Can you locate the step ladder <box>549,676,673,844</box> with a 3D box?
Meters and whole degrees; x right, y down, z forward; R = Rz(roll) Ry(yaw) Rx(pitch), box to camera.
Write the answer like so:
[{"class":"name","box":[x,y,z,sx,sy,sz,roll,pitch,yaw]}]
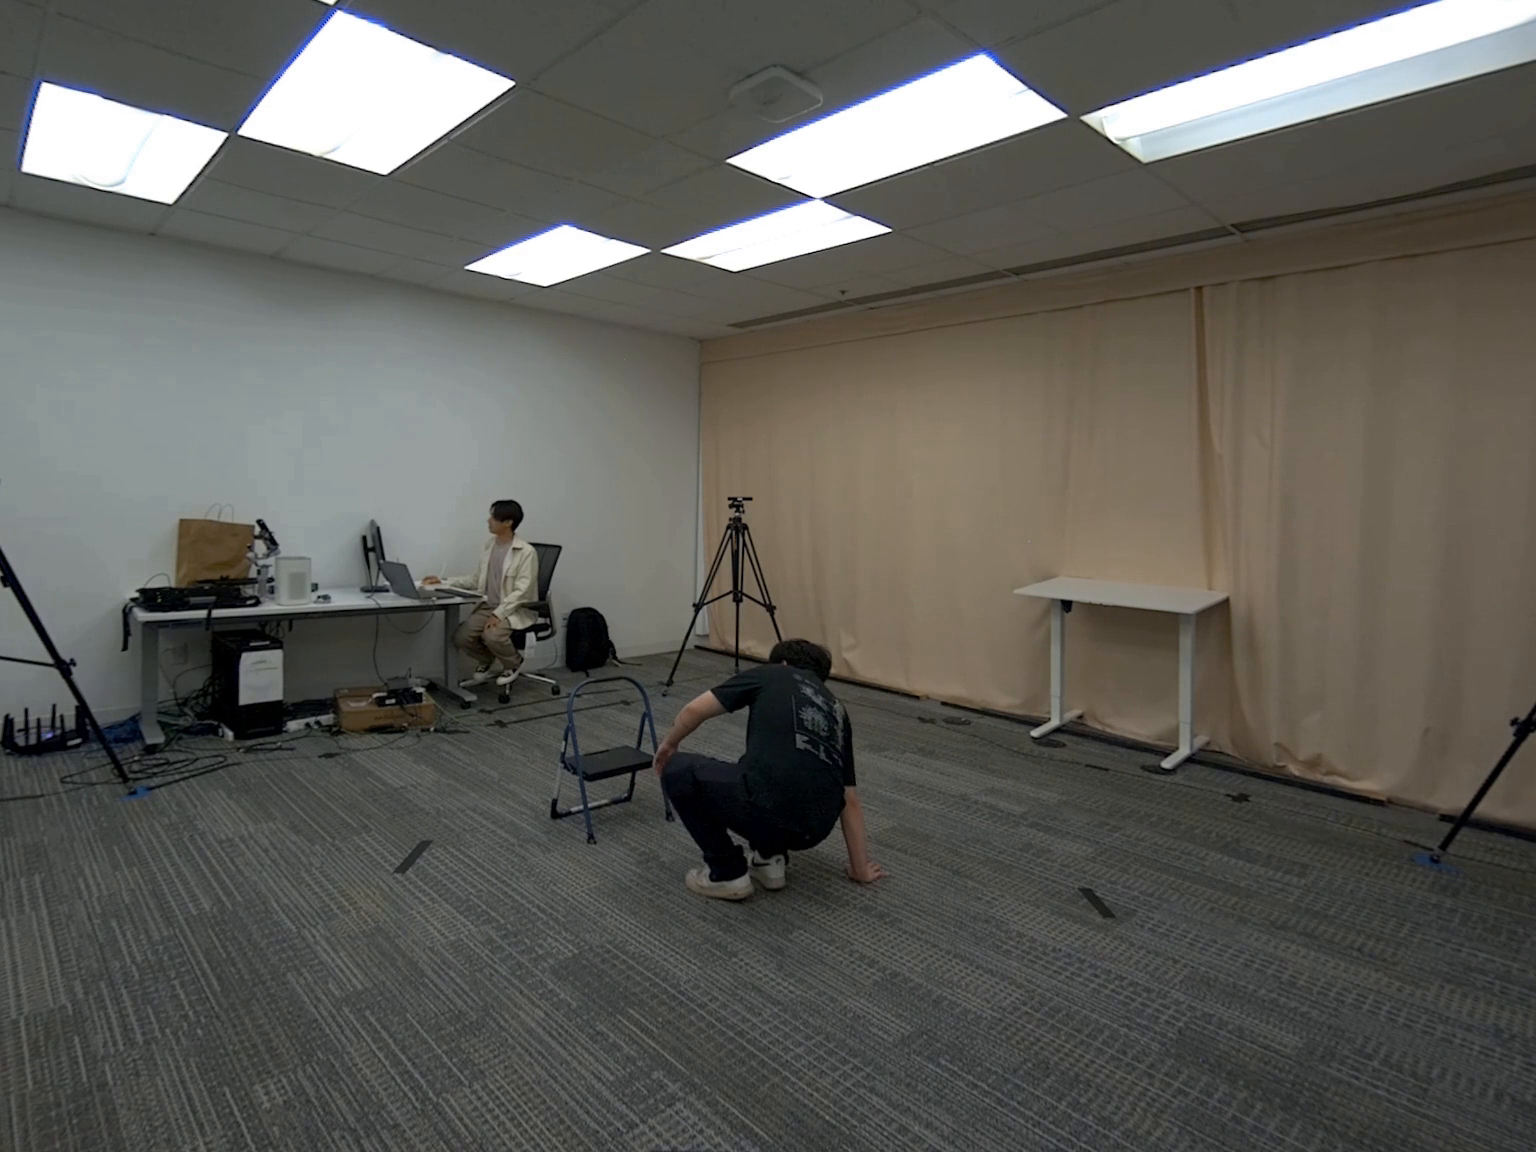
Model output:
[{"class":"step ladder","box":[-0.672,0.749,3.612,0.421,0.604,0.358,-2,5,-43]}]
